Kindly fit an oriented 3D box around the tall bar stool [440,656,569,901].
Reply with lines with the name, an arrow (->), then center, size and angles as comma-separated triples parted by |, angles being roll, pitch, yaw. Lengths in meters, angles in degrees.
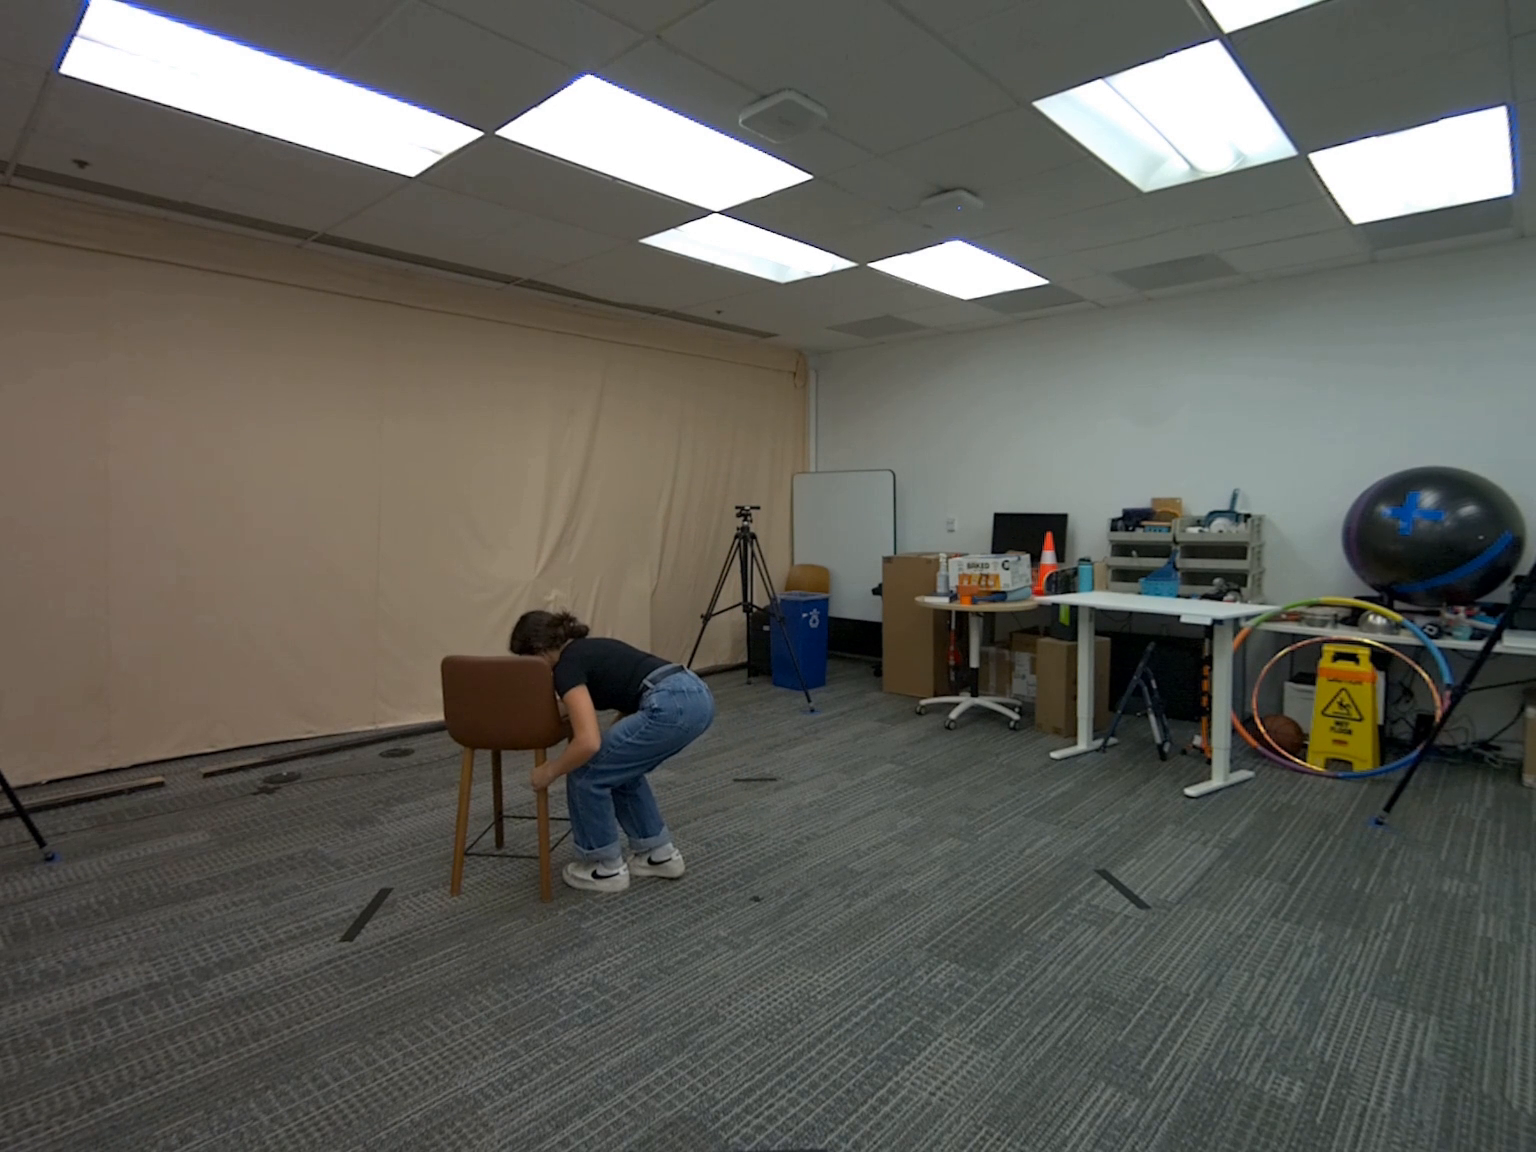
tall bar stool -> -0.947, 0.701, 3.200 | 0.461, 0.887, 0.464 | -1, 4, 8
